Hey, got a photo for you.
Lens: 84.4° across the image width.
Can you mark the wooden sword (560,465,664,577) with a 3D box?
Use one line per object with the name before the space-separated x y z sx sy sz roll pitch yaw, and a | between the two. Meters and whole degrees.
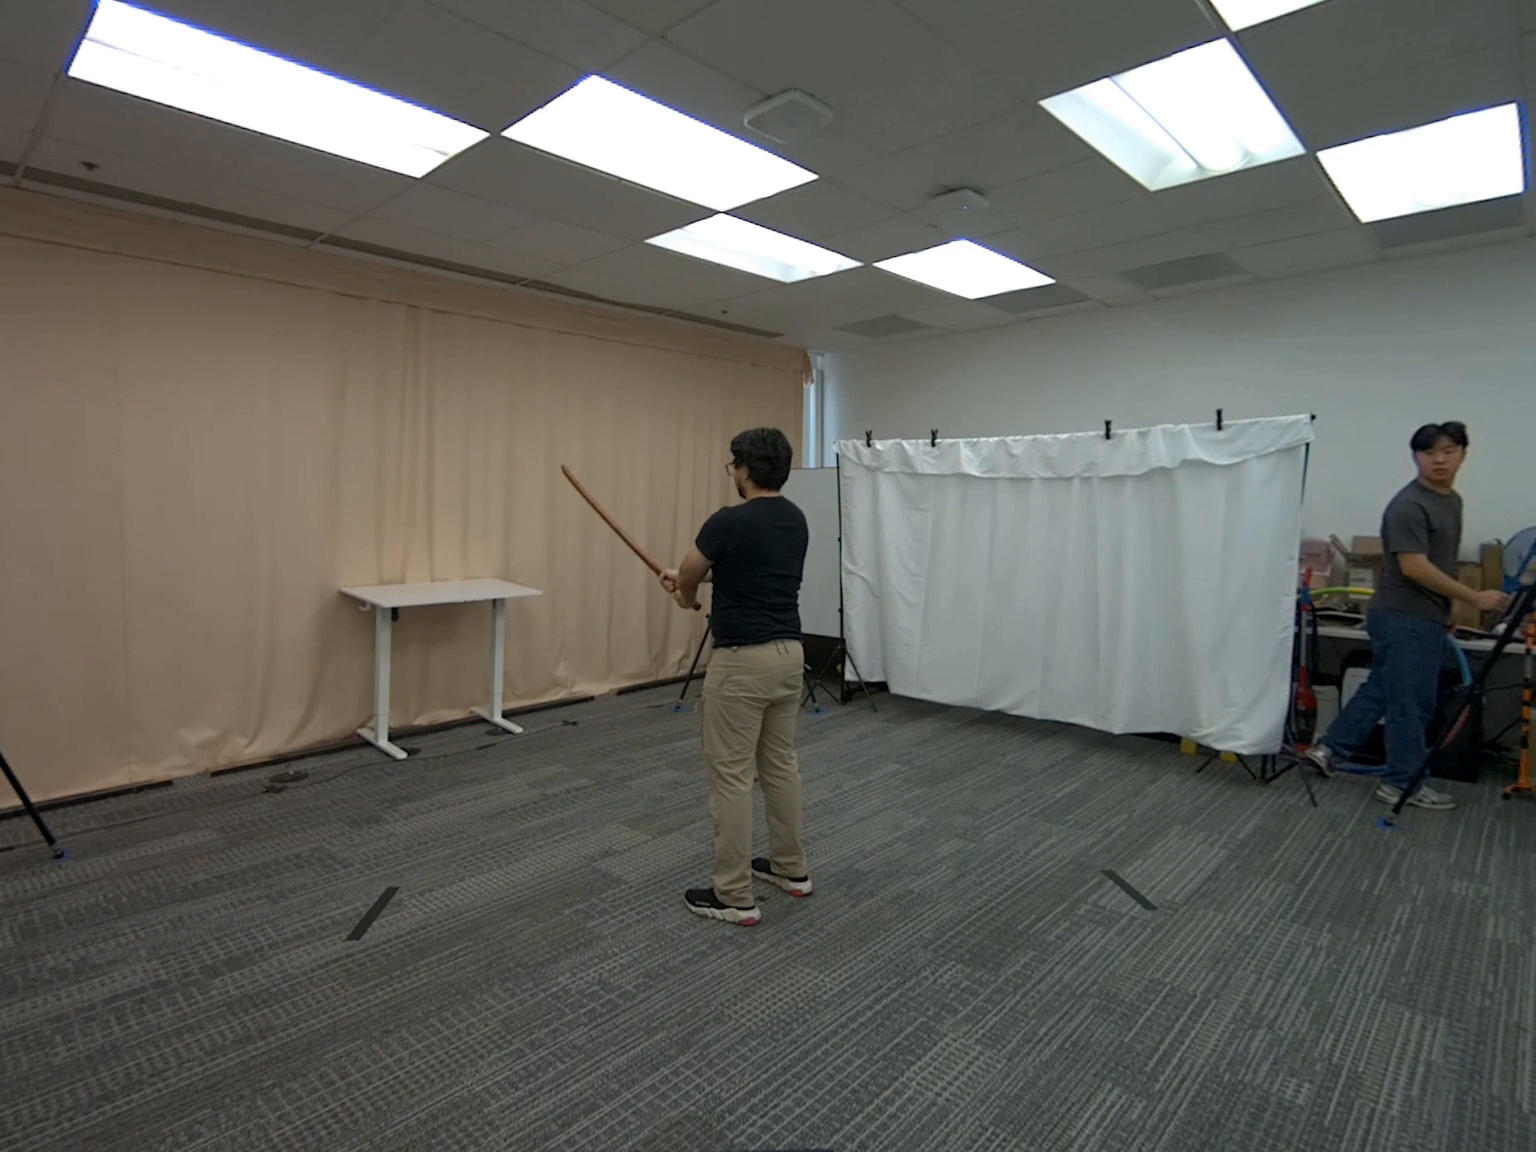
wooden sword | -0.587 -0.176 3.515 0.023 0.051 1.058 -8 43 -45
